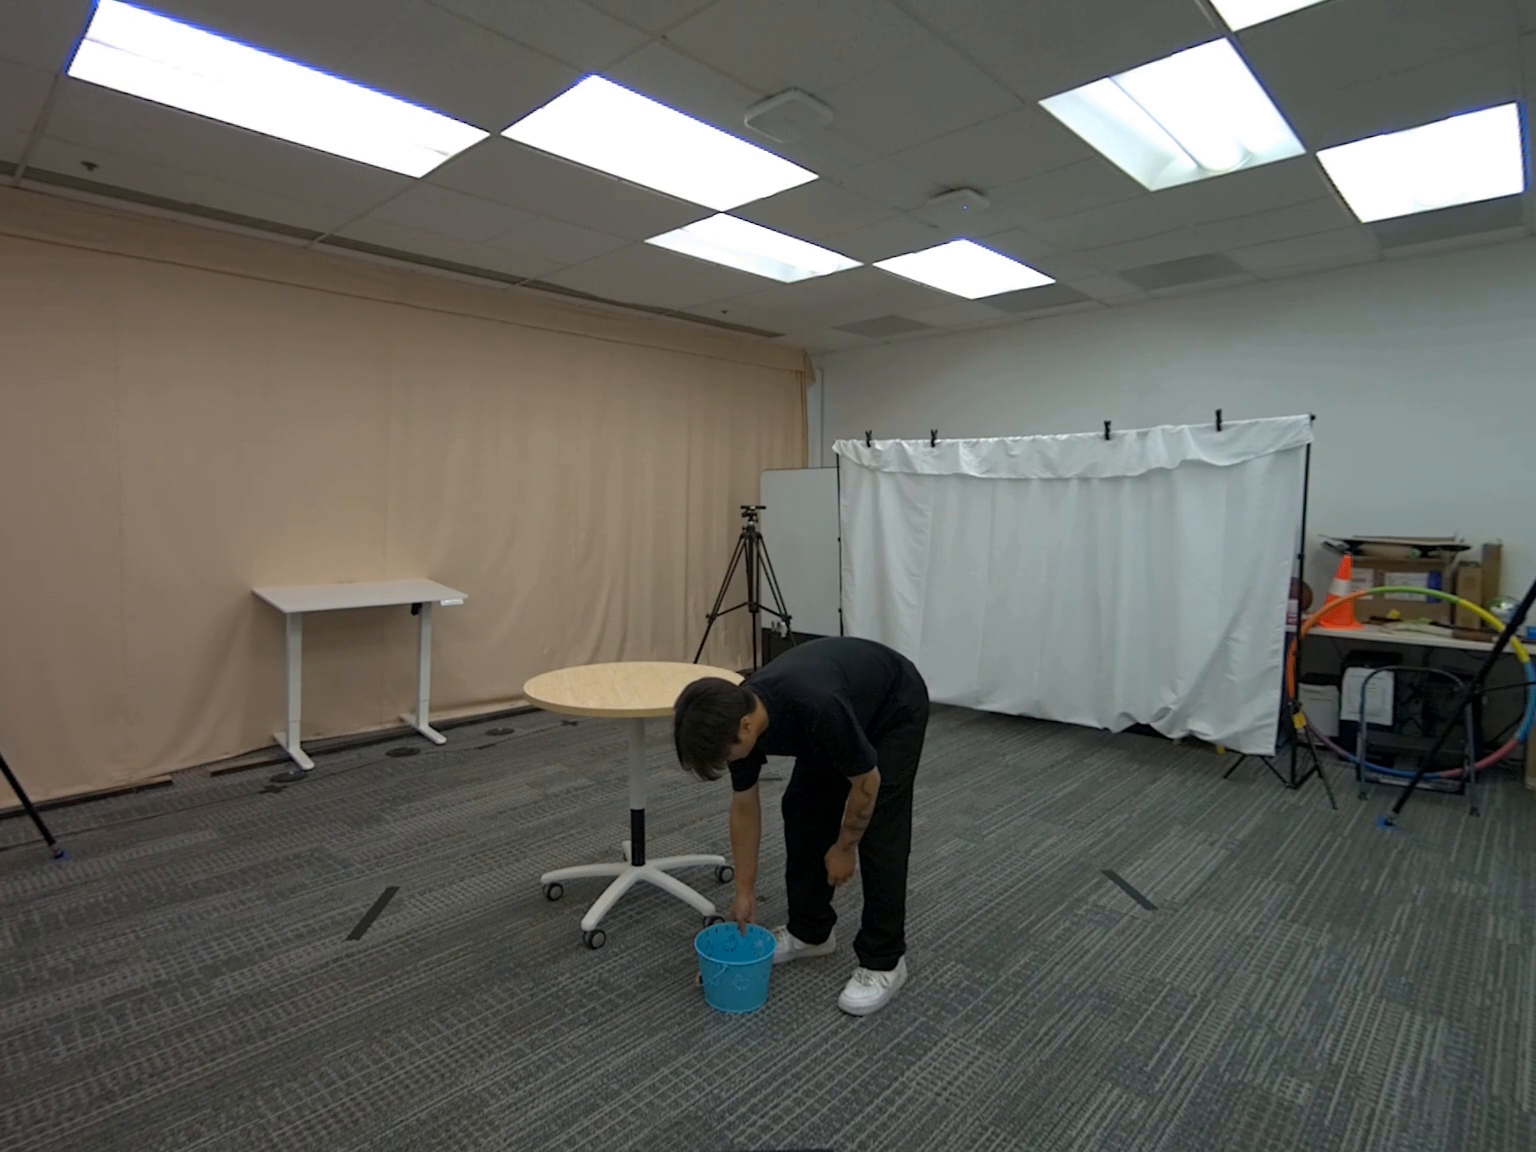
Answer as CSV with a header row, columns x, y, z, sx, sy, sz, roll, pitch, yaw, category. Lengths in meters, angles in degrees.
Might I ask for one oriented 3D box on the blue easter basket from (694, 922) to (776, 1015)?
x,y,z,sx,sy,sz,roll,pitch,yaw,category
-0.091,1.118,2.398,0.243,0.155,0.244,-1,4,-2,blue easter basket
